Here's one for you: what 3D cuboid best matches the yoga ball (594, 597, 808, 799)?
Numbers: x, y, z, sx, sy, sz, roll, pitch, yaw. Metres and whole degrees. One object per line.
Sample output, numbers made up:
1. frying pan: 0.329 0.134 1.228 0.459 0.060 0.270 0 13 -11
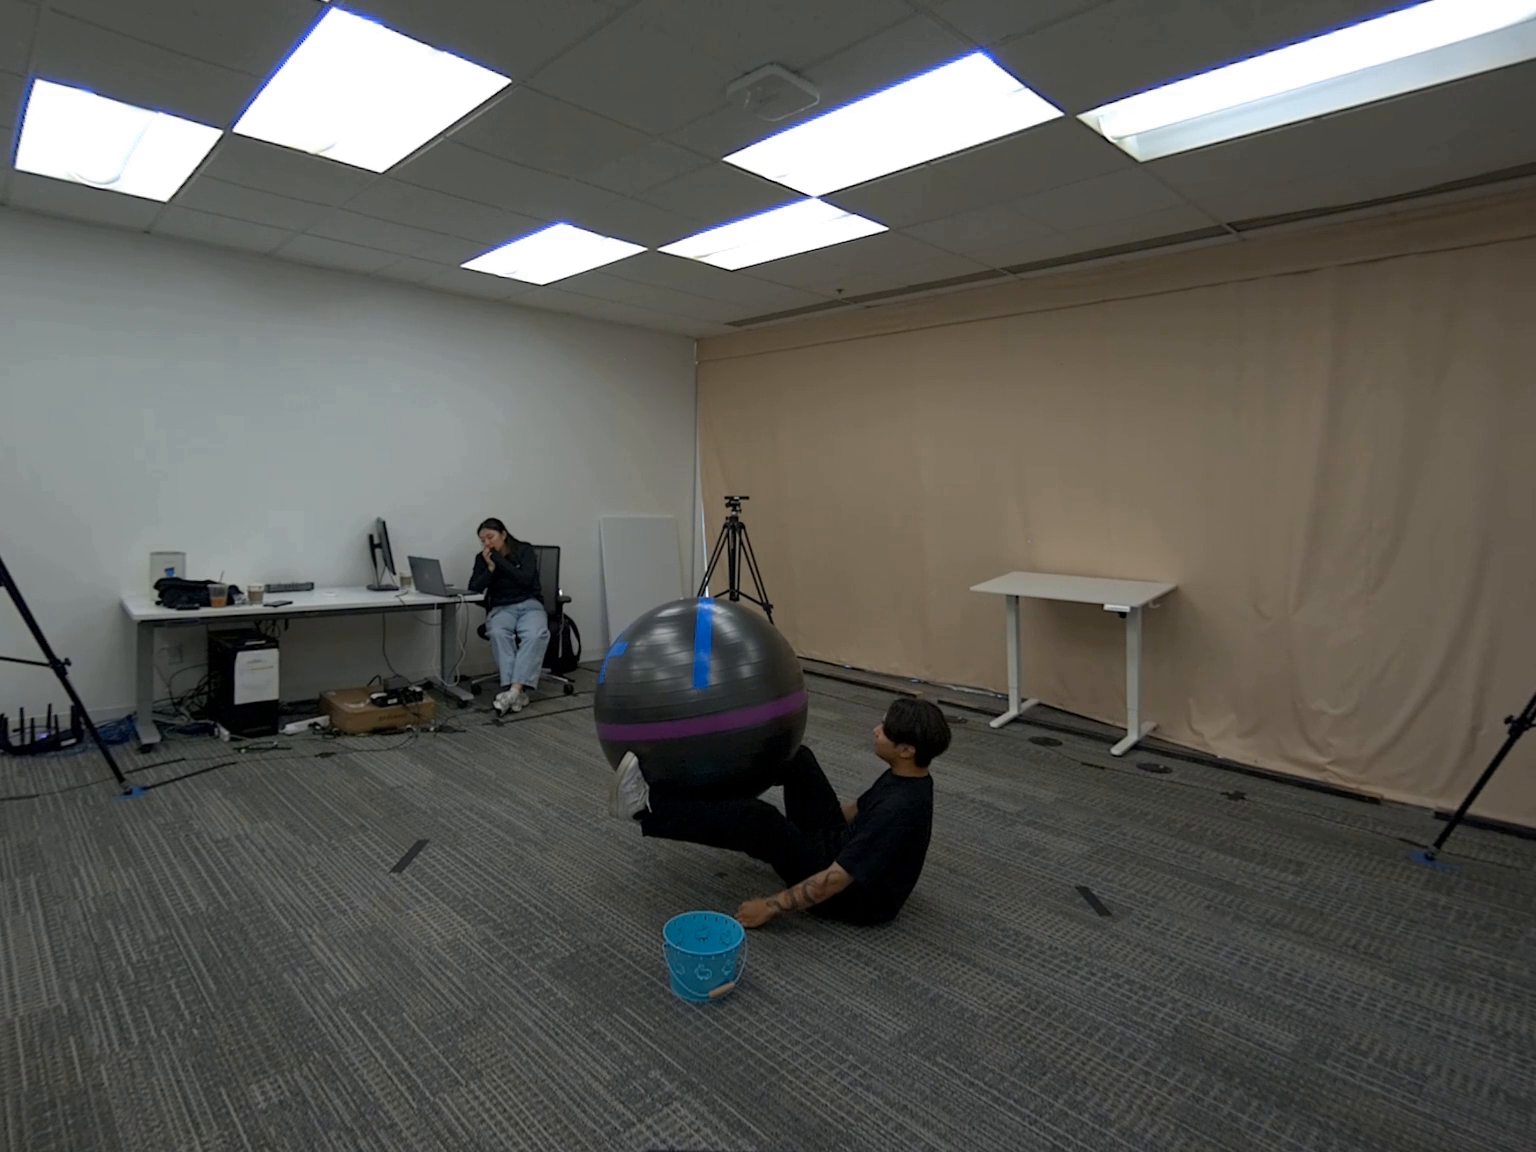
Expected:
1. yoga ball: -0.242 0.465 3.017 0.757 0.756 0.761 1 4 -1
